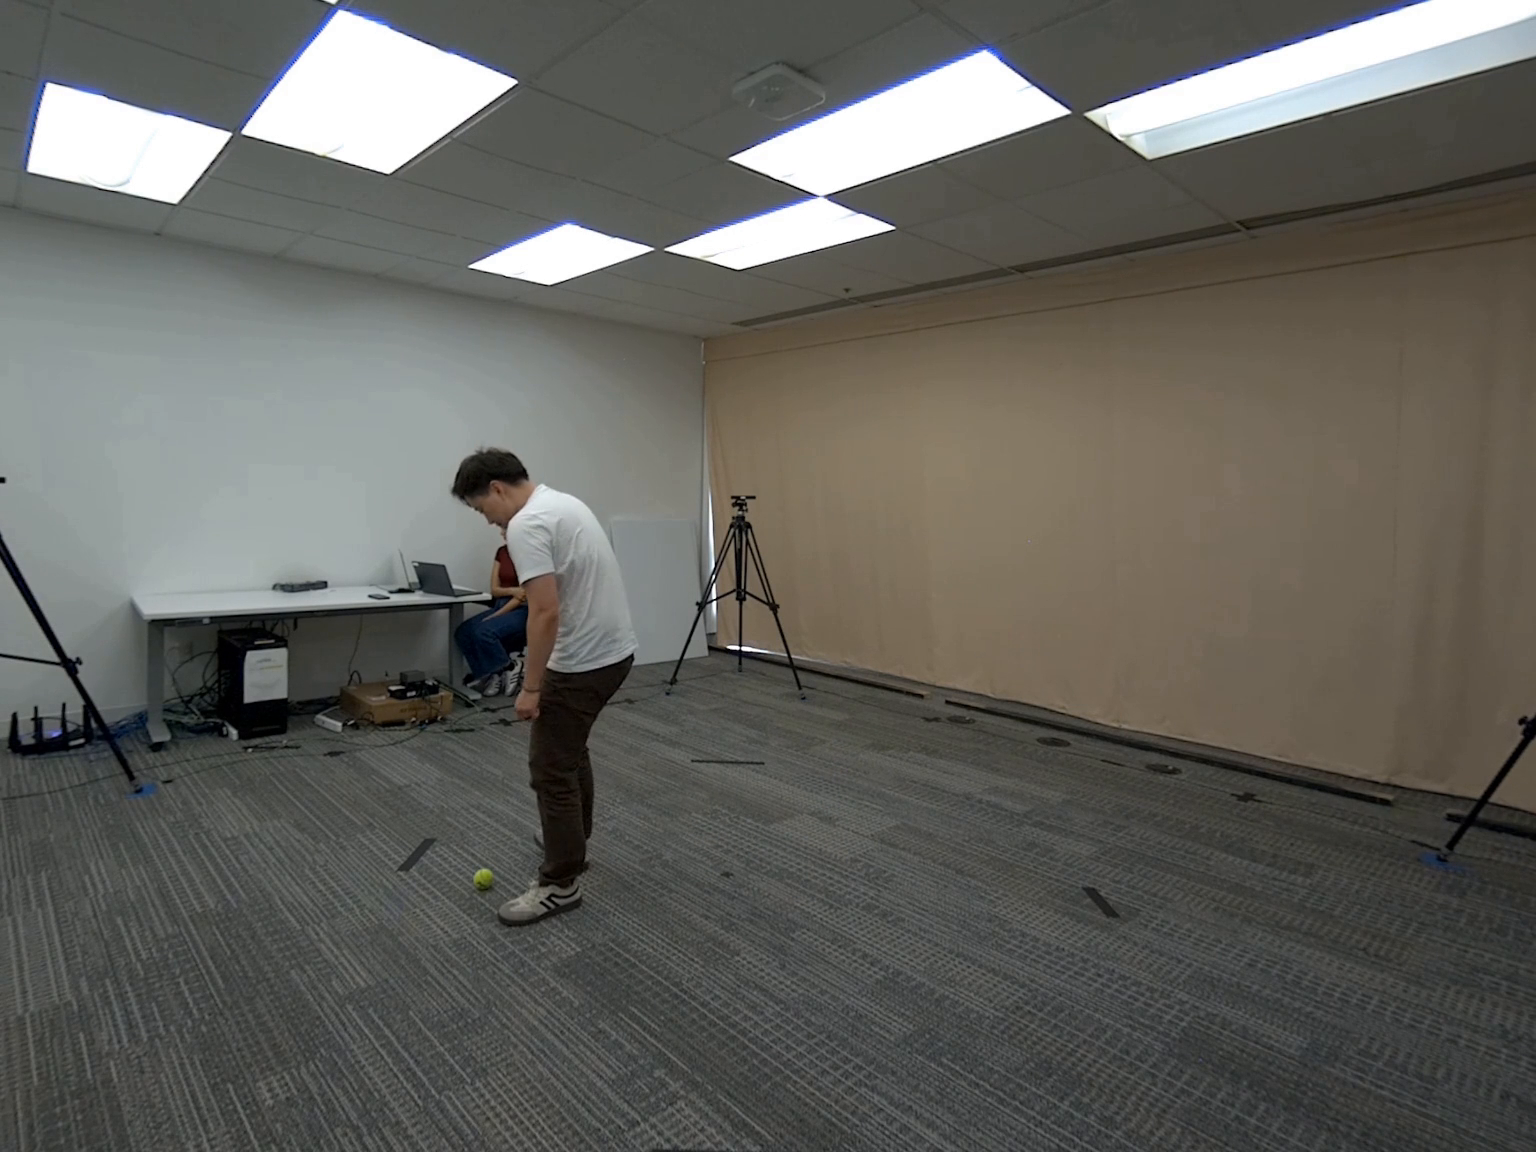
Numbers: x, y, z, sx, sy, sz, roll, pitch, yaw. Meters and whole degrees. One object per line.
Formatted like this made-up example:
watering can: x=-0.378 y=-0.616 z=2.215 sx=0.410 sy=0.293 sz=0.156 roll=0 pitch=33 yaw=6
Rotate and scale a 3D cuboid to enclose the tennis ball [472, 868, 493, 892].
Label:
tennis ball: x=-1.008 y=1.056 z=2.954 sx=0.066 sy=0.066 sz=0.067 roll=1 pitch=4 yaw=-1
